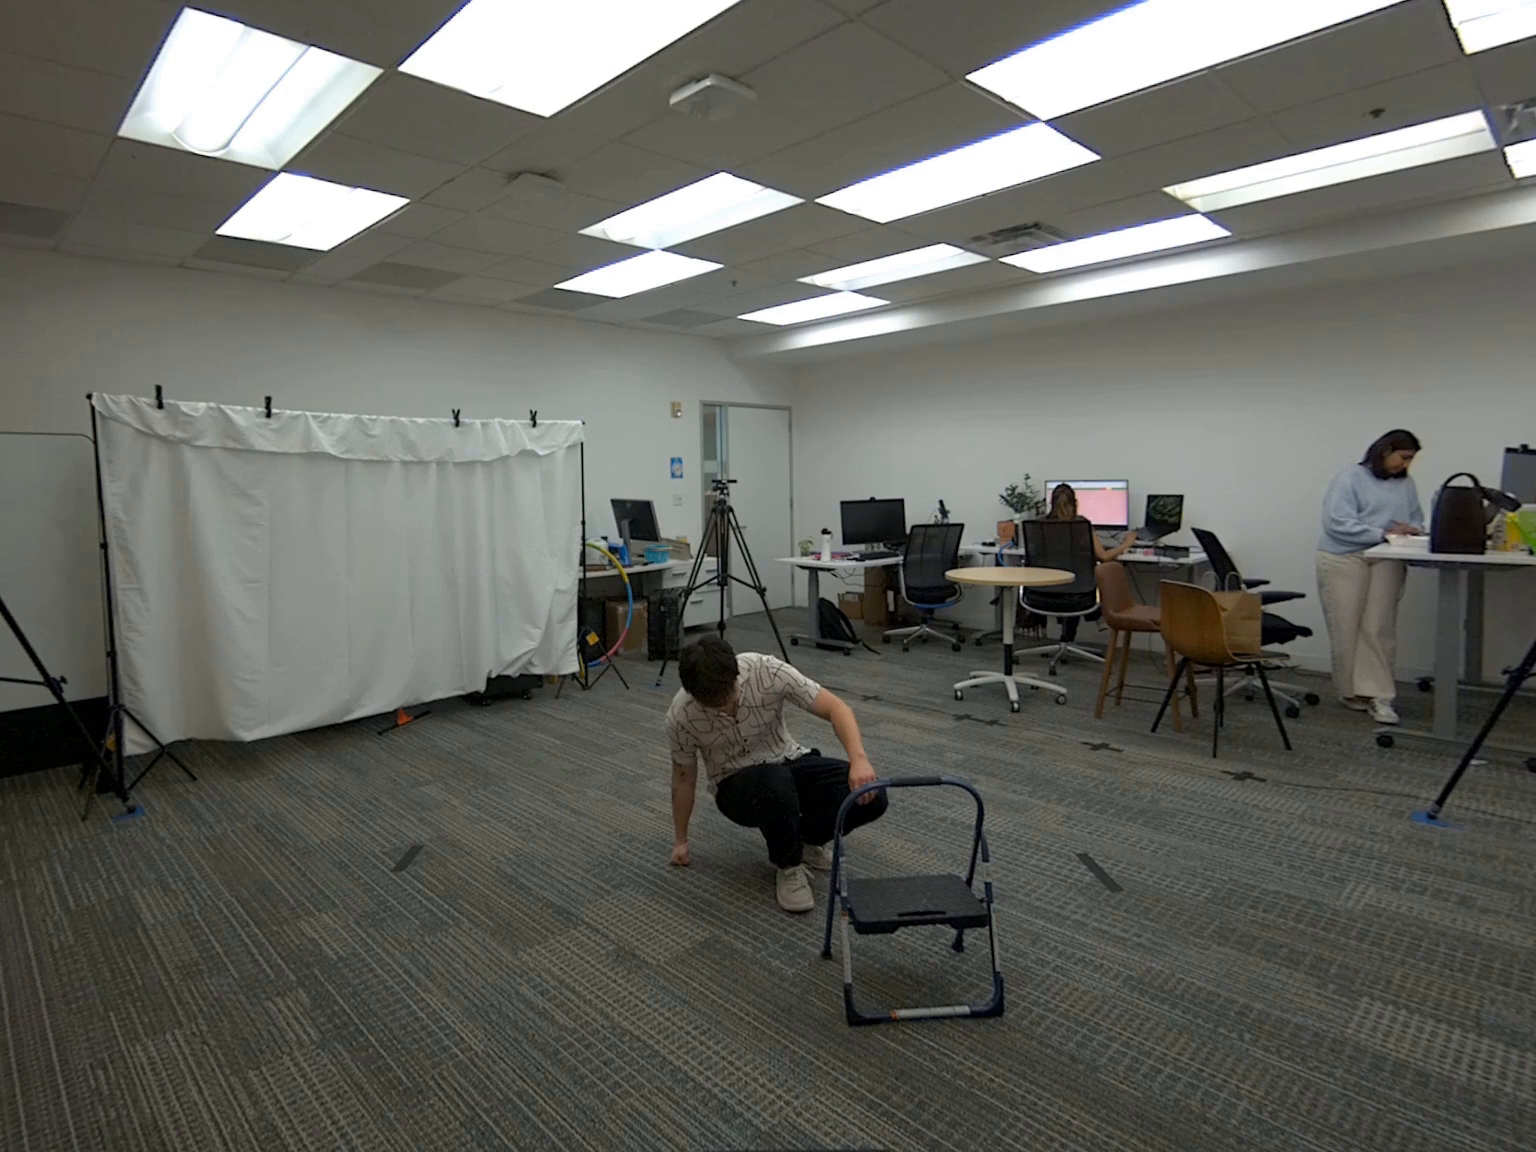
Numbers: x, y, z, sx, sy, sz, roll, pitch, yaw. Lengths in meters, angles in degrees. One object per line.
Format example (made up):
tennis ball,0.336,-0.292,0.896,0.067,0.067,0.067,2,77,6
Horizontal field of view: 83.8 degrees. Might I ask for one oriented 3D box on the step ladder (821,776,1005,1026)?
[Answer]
step ladder,0.389,0.827,2.345,0.428,0.604,0.352,-1,4,-6
